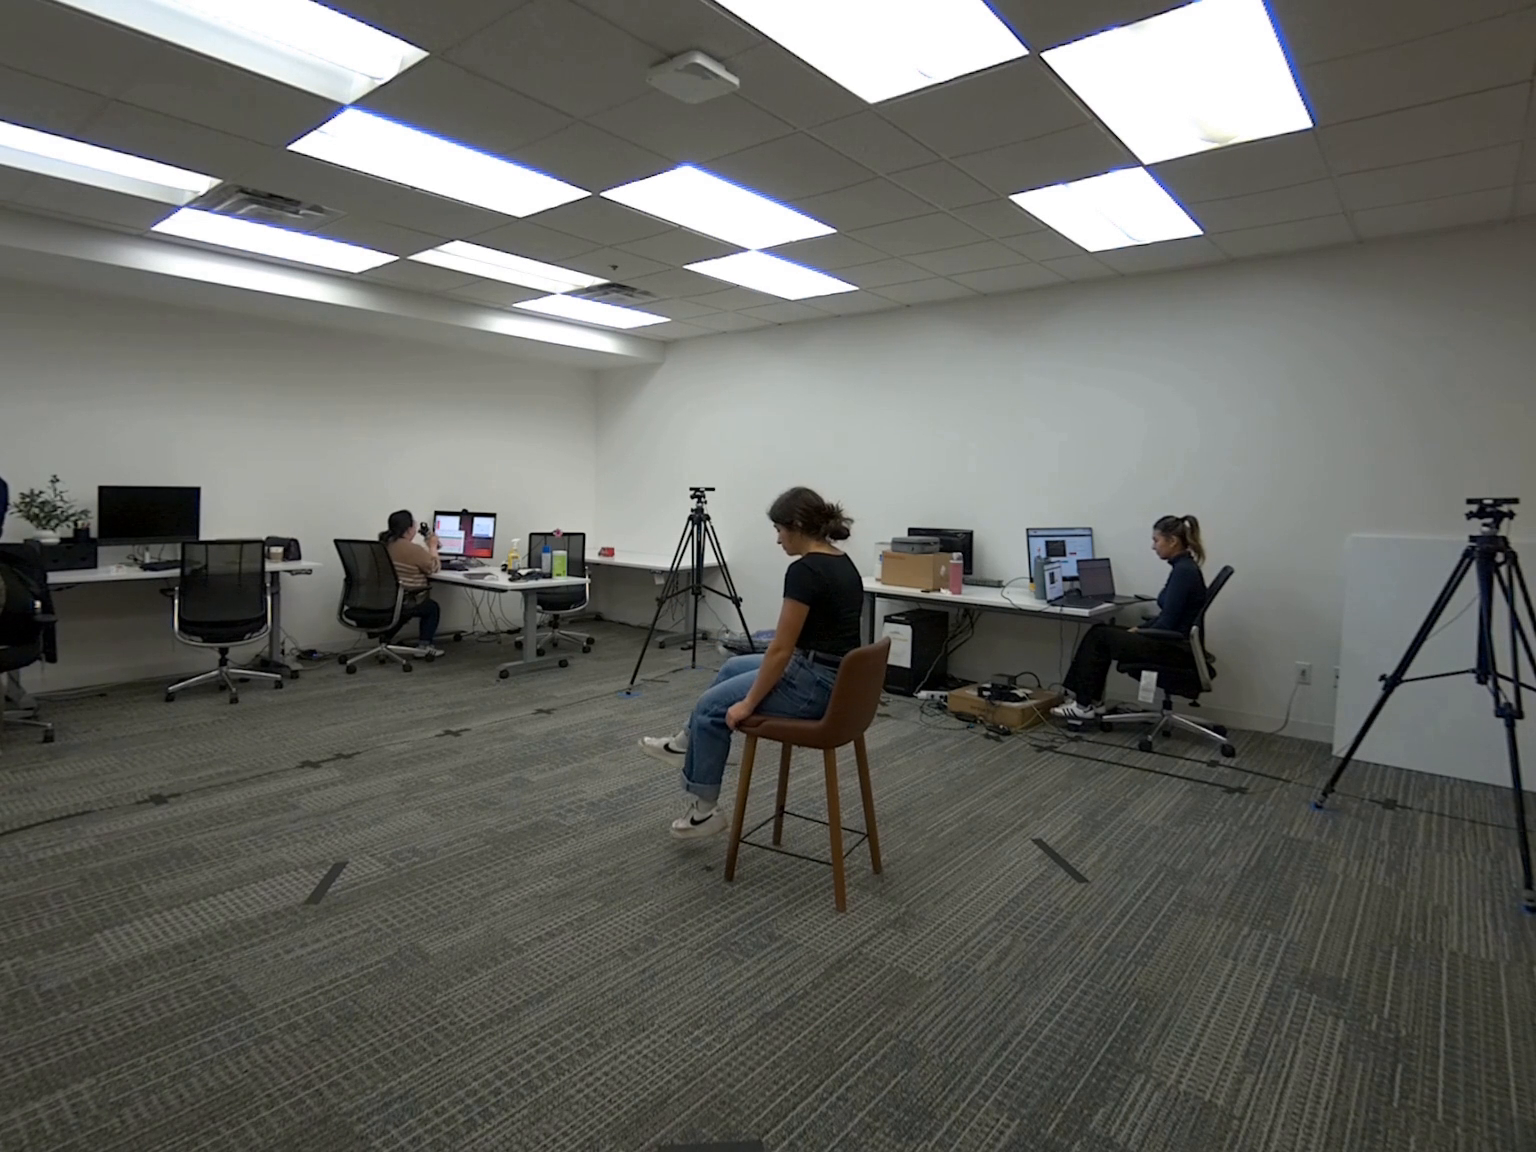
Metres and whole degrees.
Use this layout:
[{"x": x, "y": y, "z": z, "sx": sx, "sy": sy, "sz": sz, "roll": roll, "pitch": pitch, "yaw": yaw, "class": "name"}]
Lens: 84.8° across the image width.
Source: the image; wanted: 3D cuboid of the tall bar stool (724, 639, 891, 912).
[{"x": 0.146, "y": 0.648, "z": 3.044, "sx": 0.481, "sy": 0.886, "sz": 0.445, "roll": 5, "pitch": 5, "yaw": 29, "class": "tall bar stool"}]
